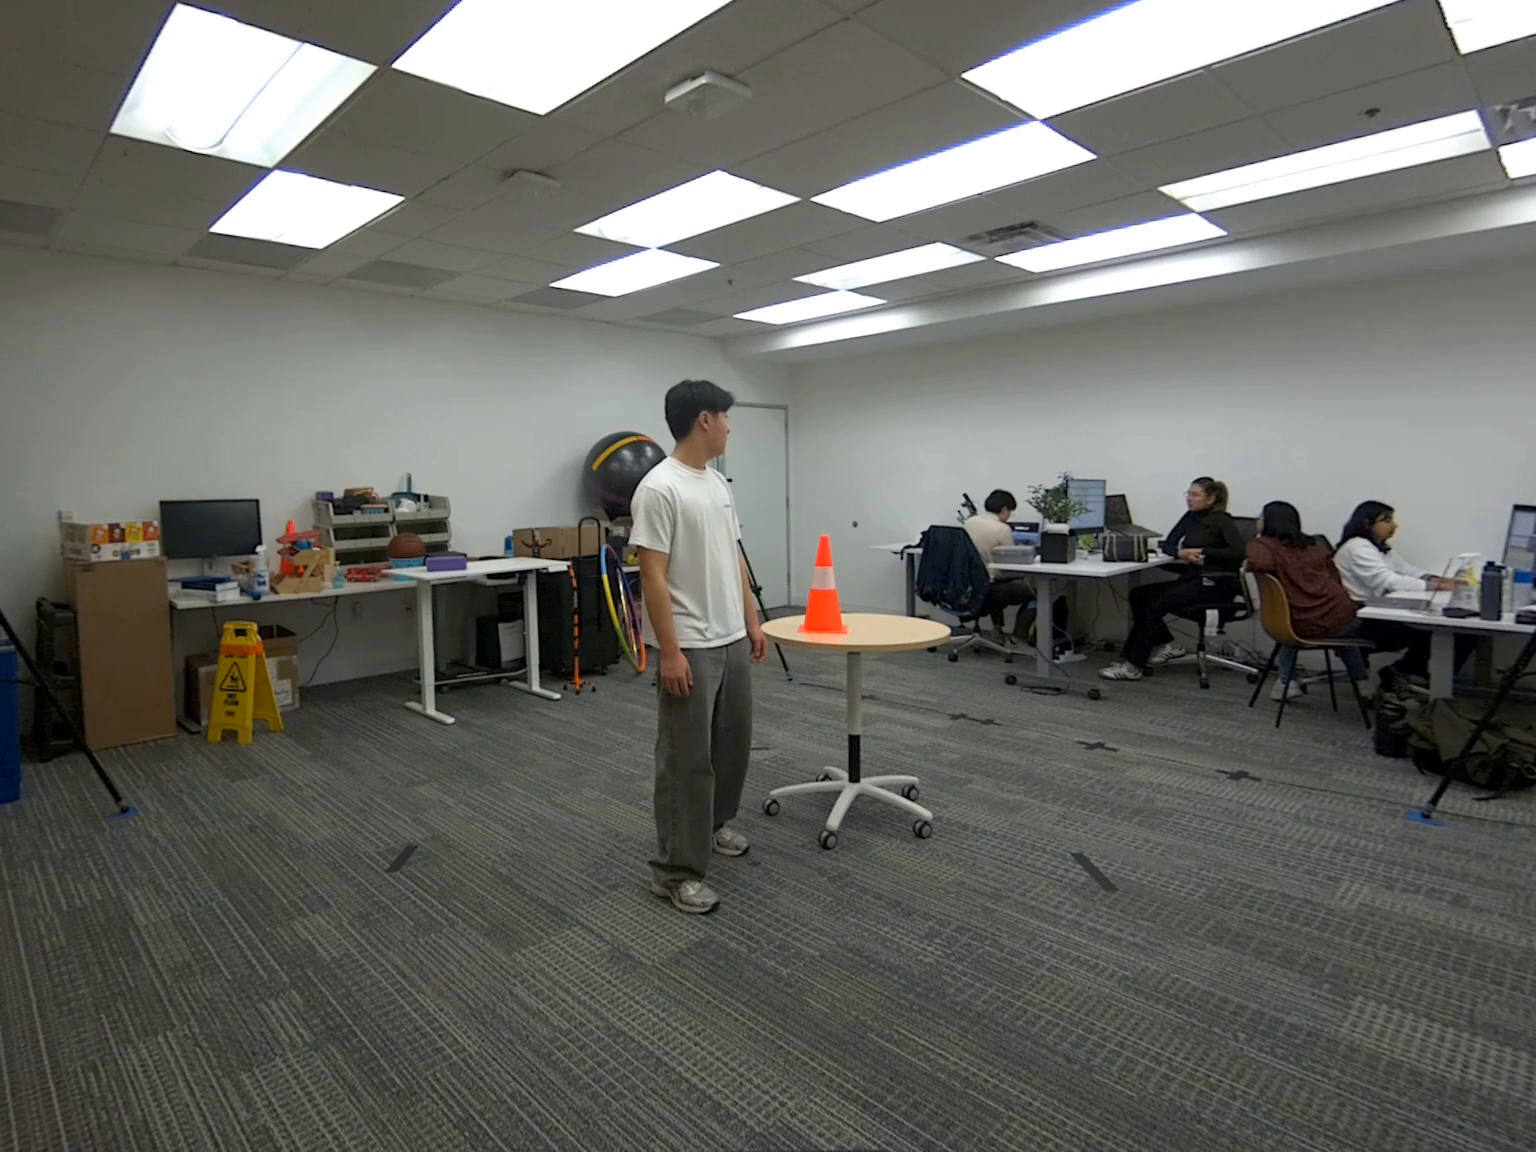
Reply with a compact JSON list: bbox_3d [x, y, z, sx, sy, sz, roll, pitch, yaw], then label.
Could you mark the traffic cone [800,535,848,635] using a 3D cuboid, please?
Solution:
[{"bbox_3d":[0.224,0.031,3.459,0.205,0.382,0.204,0,5,6],"label":"traffic cone"}]
